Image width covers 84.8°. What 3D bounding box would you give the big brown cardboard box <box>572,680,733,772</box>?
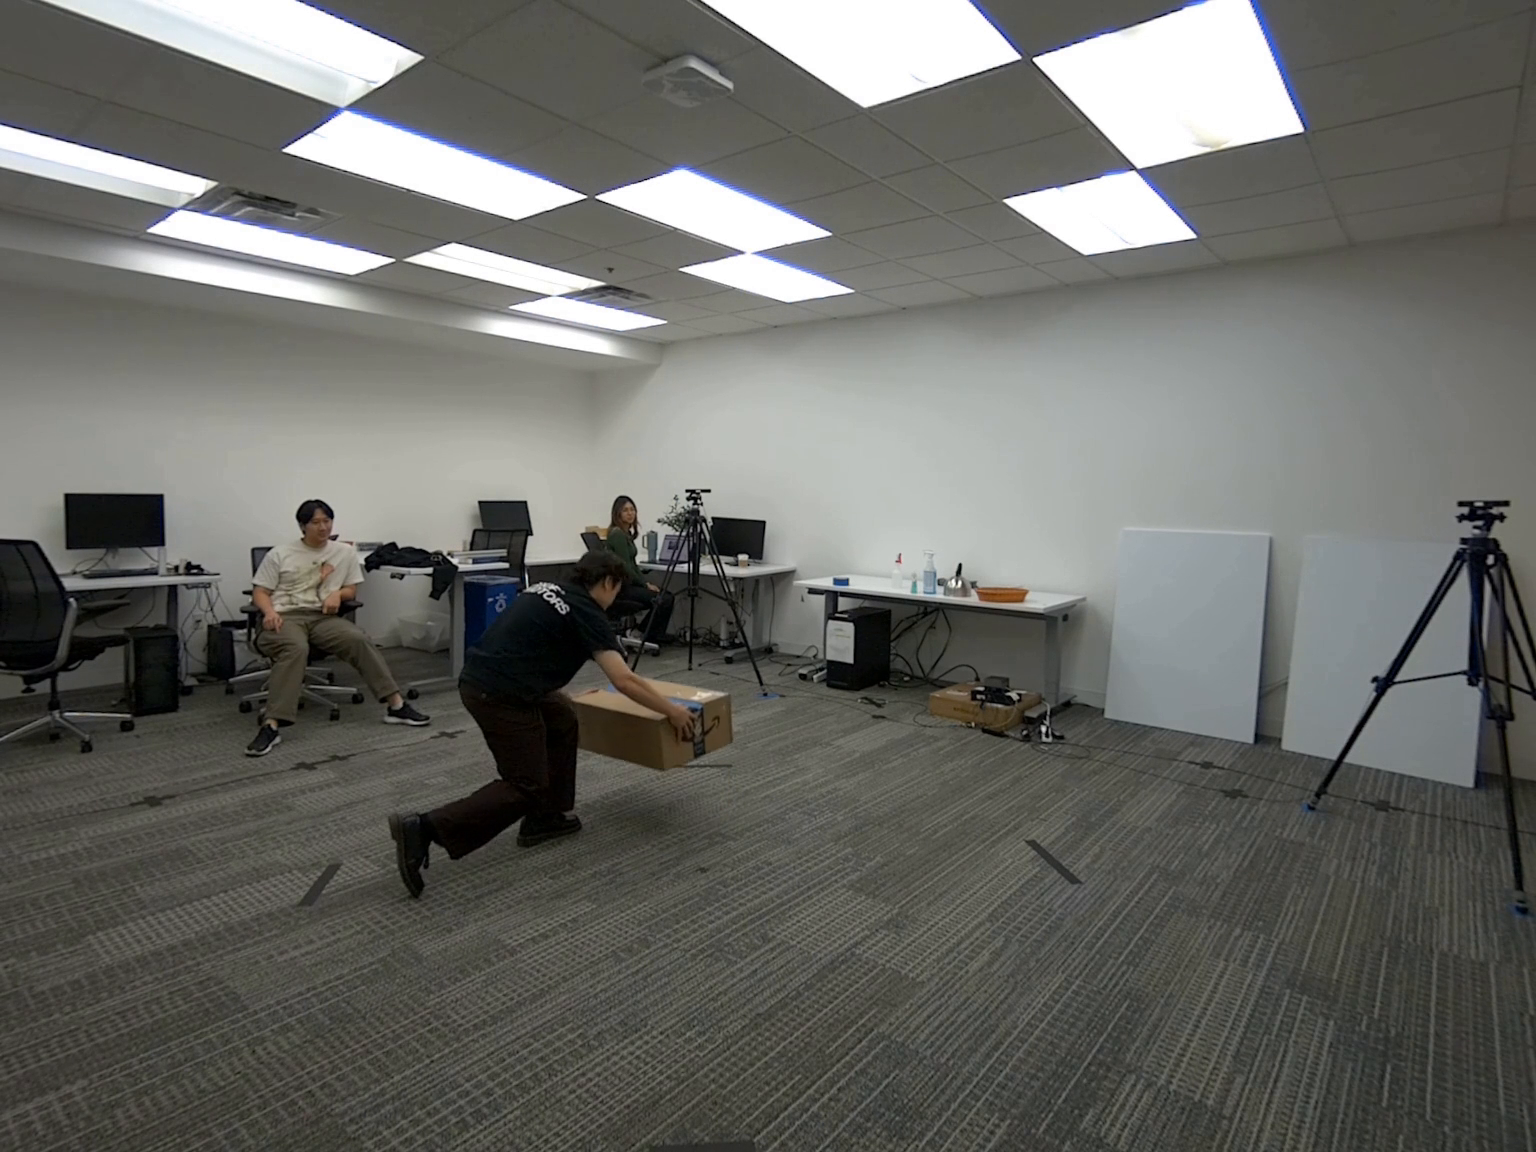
[{"bbox_3d":[-0.518,0.608,3.650,0.608,0.232,0.407,1,9,40],"label":"big brown cardboard box"}]
